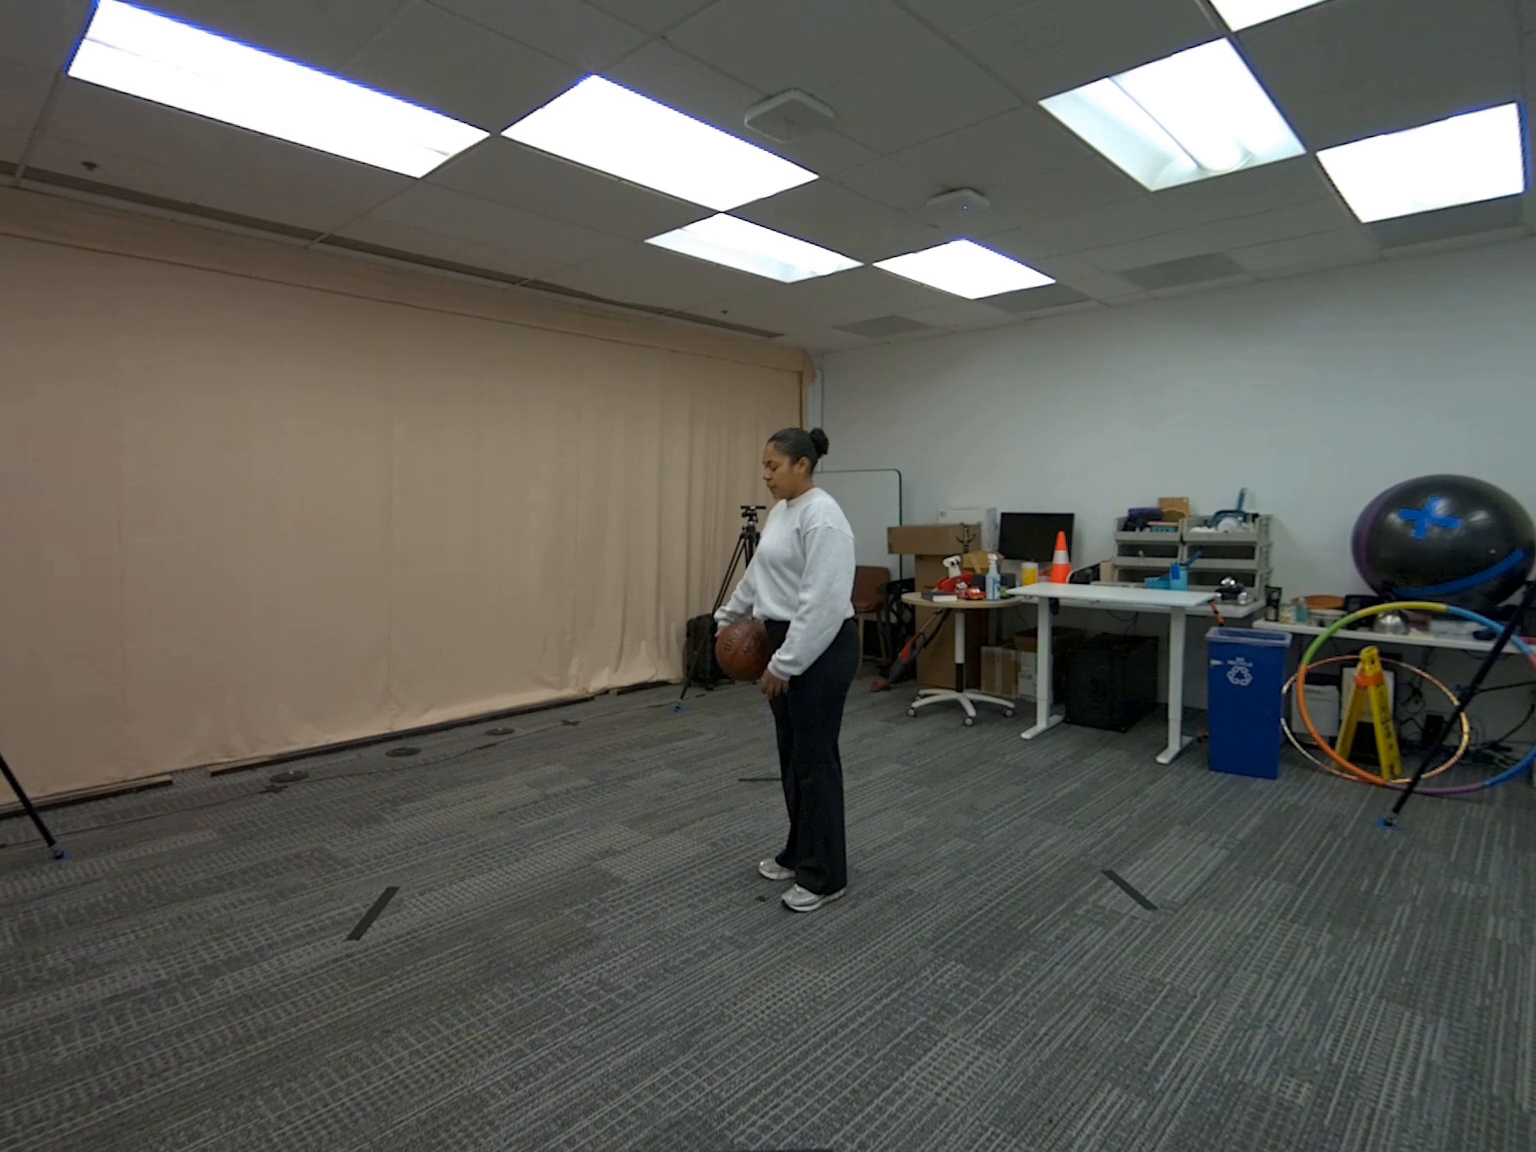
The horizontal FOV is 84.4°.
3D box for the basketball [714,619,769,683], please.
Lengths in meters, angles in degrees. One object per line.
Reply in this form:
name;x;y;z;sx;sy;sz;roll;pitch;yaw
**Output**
basketball;-0.072;0.286;3.243;0.236;0.235;0.237;0;4;-2
